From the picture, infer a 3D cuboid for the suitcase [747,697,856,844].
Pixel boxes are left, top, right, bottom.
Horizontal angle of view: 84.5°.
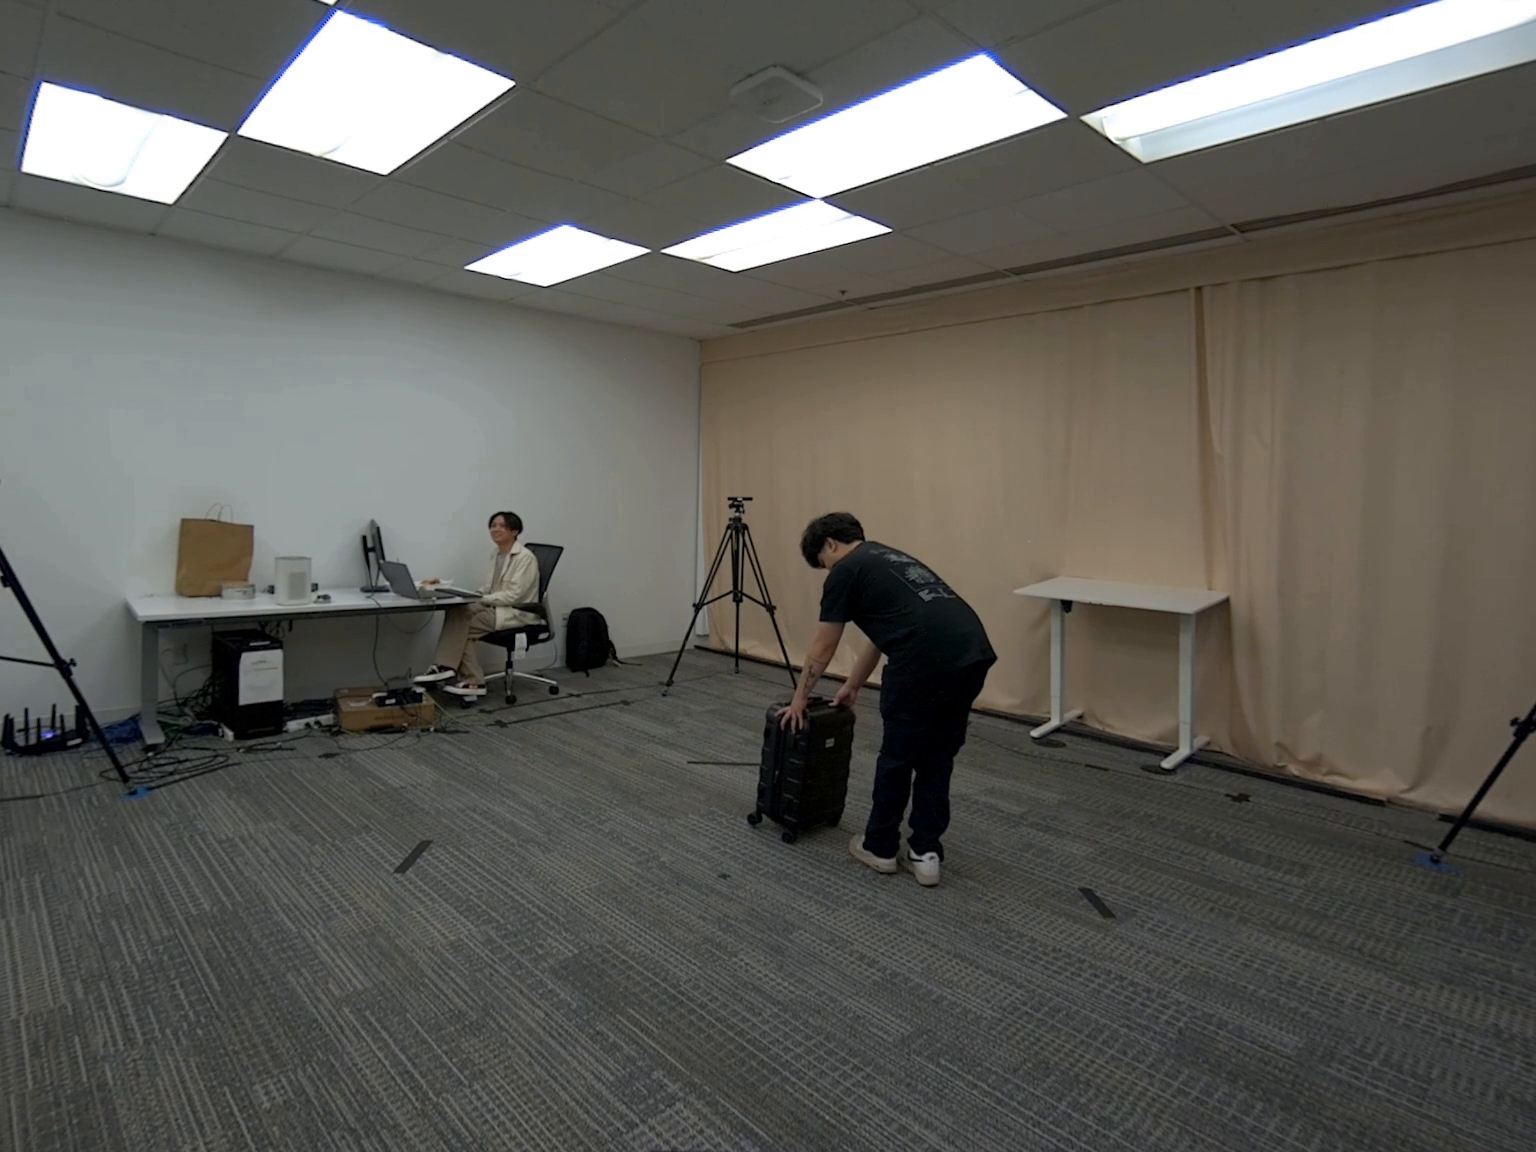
[{"bbox_3d":[0.150,0.798,3.575,0.255,0.547,0.366,13,9,44],"label":"suitcase"}]
